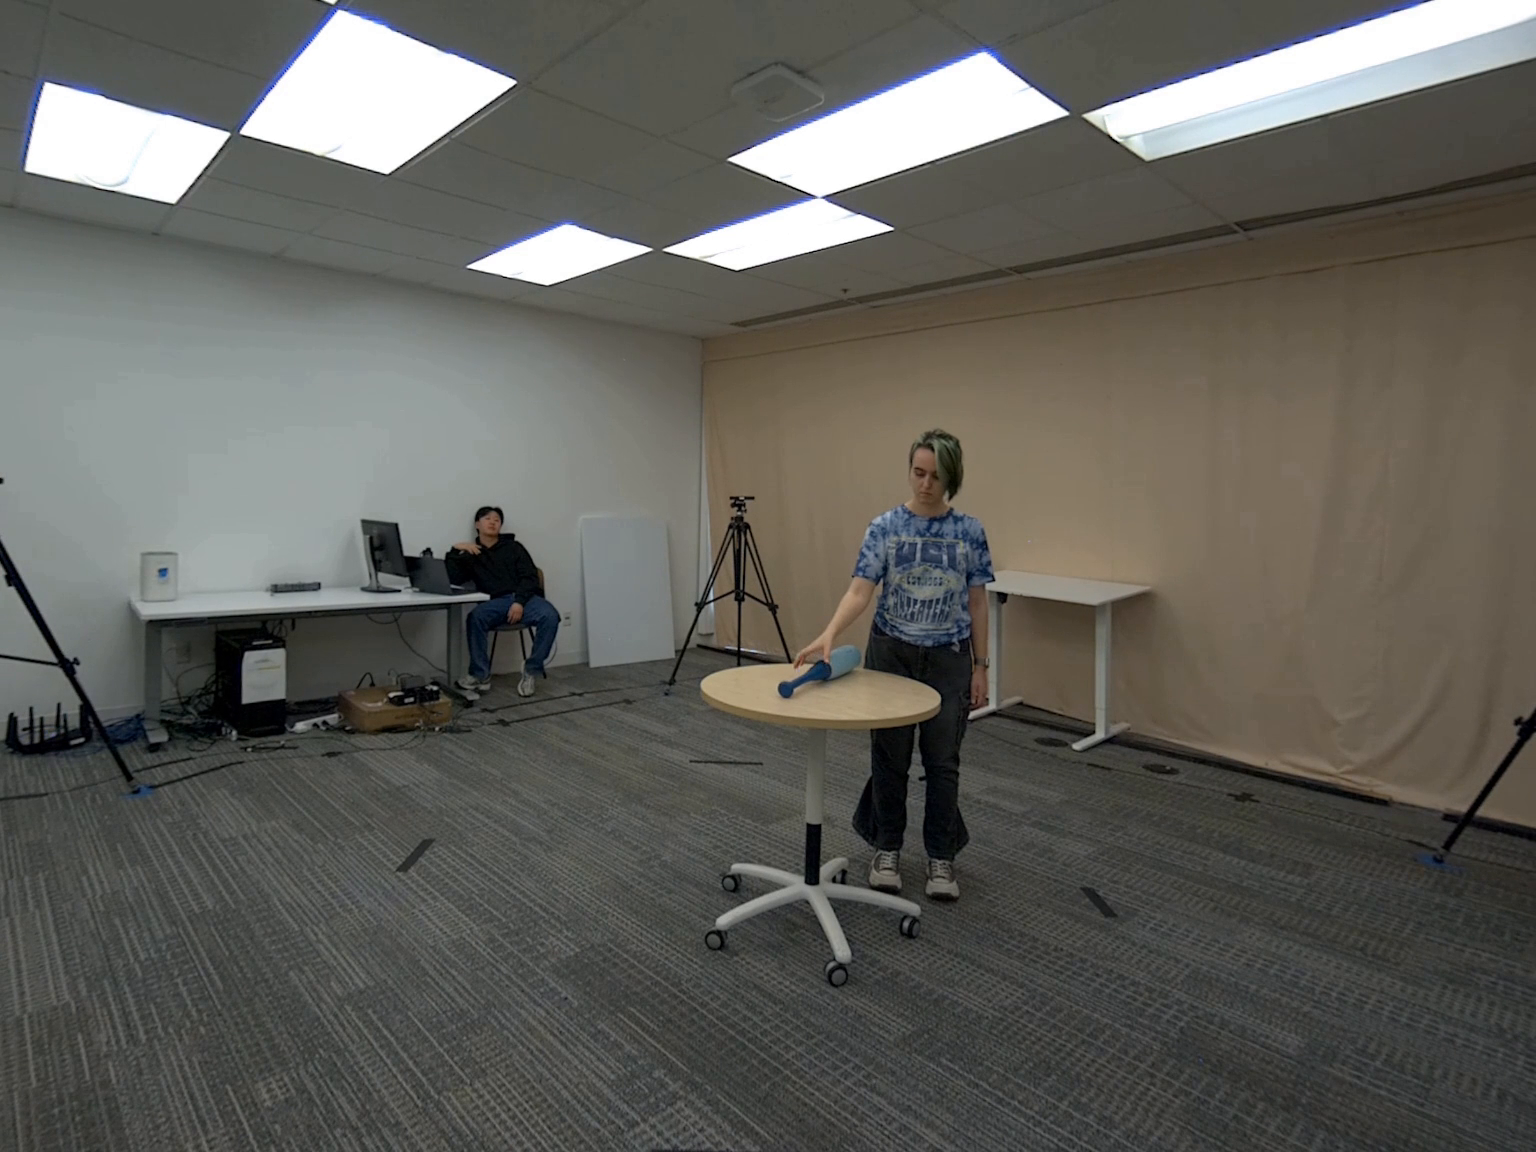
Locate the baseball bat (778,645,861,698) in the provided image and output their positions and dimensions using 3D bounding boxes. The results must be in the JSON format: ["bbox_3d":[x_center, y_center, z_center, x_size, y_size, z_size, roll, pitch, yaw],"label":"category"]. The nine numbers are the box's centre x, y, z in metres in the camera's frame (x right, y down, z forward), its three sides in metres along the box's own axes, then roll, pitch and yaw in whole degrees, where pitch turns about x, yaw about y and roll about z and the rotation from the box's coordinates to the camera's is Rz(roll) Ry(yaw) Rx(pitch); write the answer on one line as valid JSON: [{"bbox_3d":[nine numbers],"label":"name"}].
[{"bbox_3d":[0.170,0.322,2.785,0.091,0.088,0.535,3,9,26],"label":"baseball bat"}]
